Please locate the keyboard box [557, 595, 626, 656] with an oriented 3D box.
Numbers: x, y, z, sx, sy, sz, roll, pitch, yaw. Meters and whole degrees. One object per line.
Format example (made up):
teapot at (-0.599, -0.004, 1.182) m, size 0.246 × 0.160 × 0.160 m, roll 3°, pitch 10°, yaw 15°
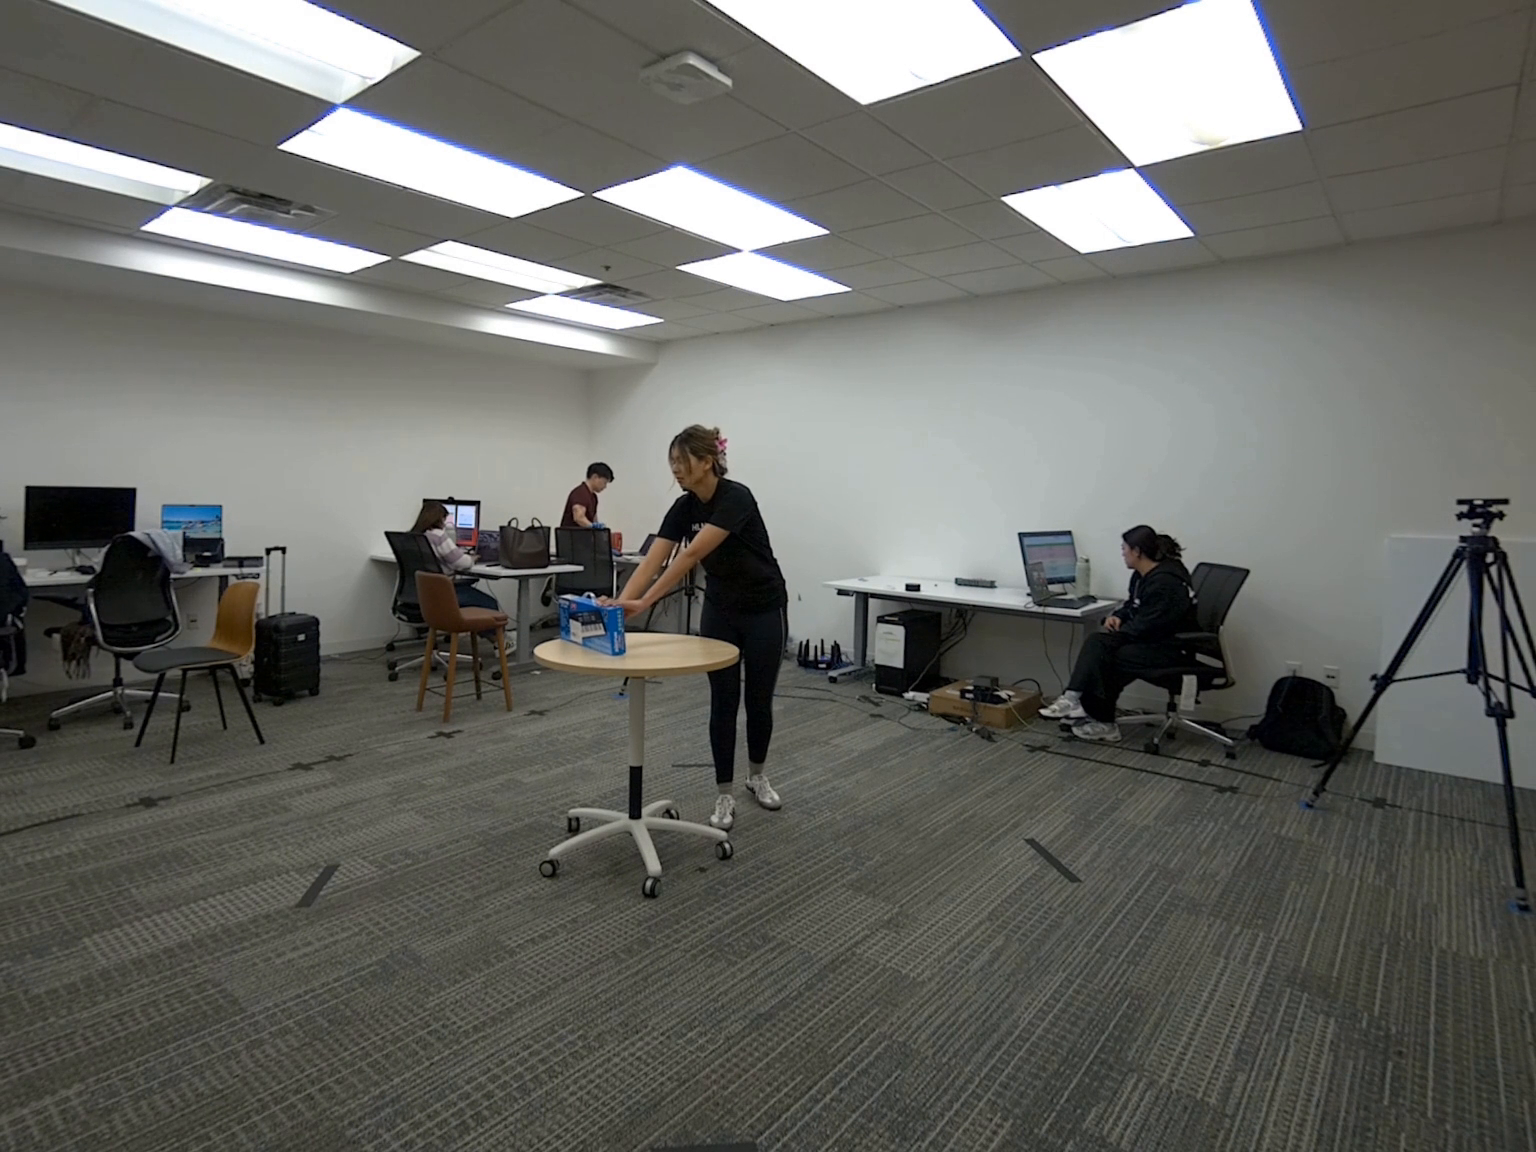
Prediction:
keyboard box at (-0.686, 0.180, 3.230) m, size 0.057 × 0.175 × 0.451 m, roll -6°, pitch 8°, yaw -37°
